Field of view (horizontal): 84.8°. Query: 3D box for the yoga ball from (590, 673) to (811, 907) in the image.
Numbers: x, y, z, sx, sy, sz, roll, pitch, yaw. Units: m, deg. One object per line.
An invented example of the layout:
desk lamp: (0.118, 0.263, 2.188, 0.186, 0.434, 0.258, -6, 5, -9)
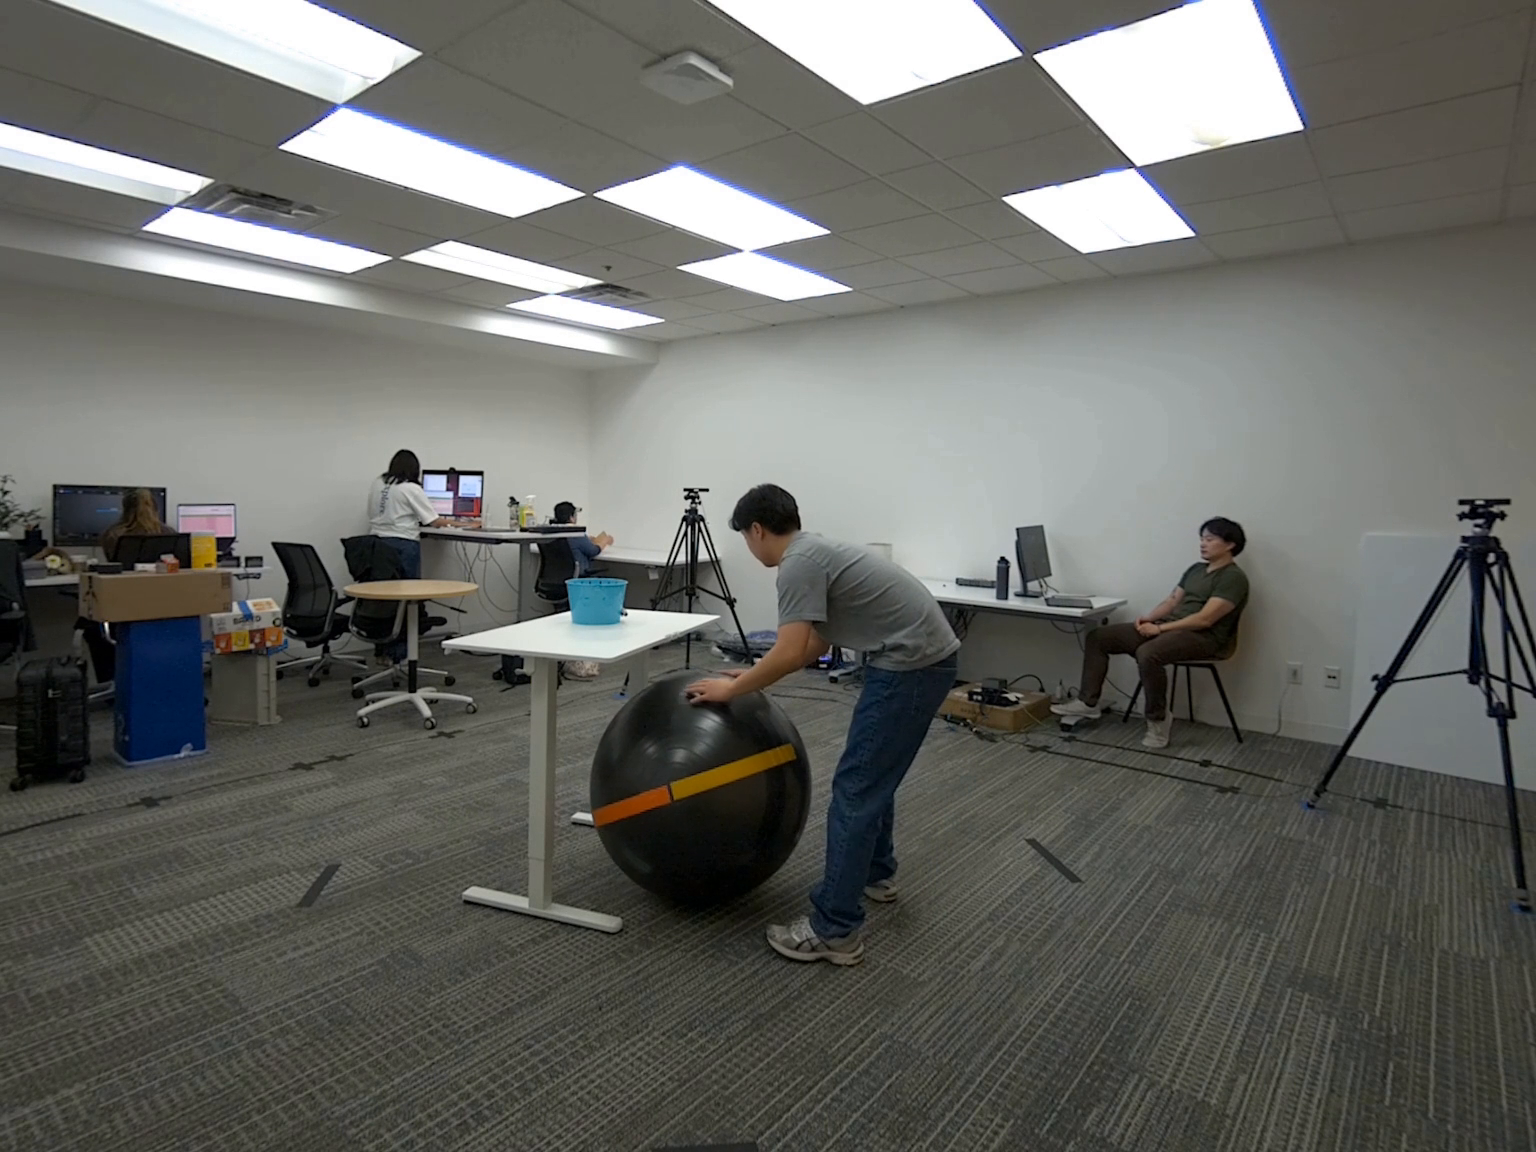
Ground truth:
yoga ball: (-0.242, 0.719, 2.920, 0.757, 0.755, 0.762, 1, 4, -2)
